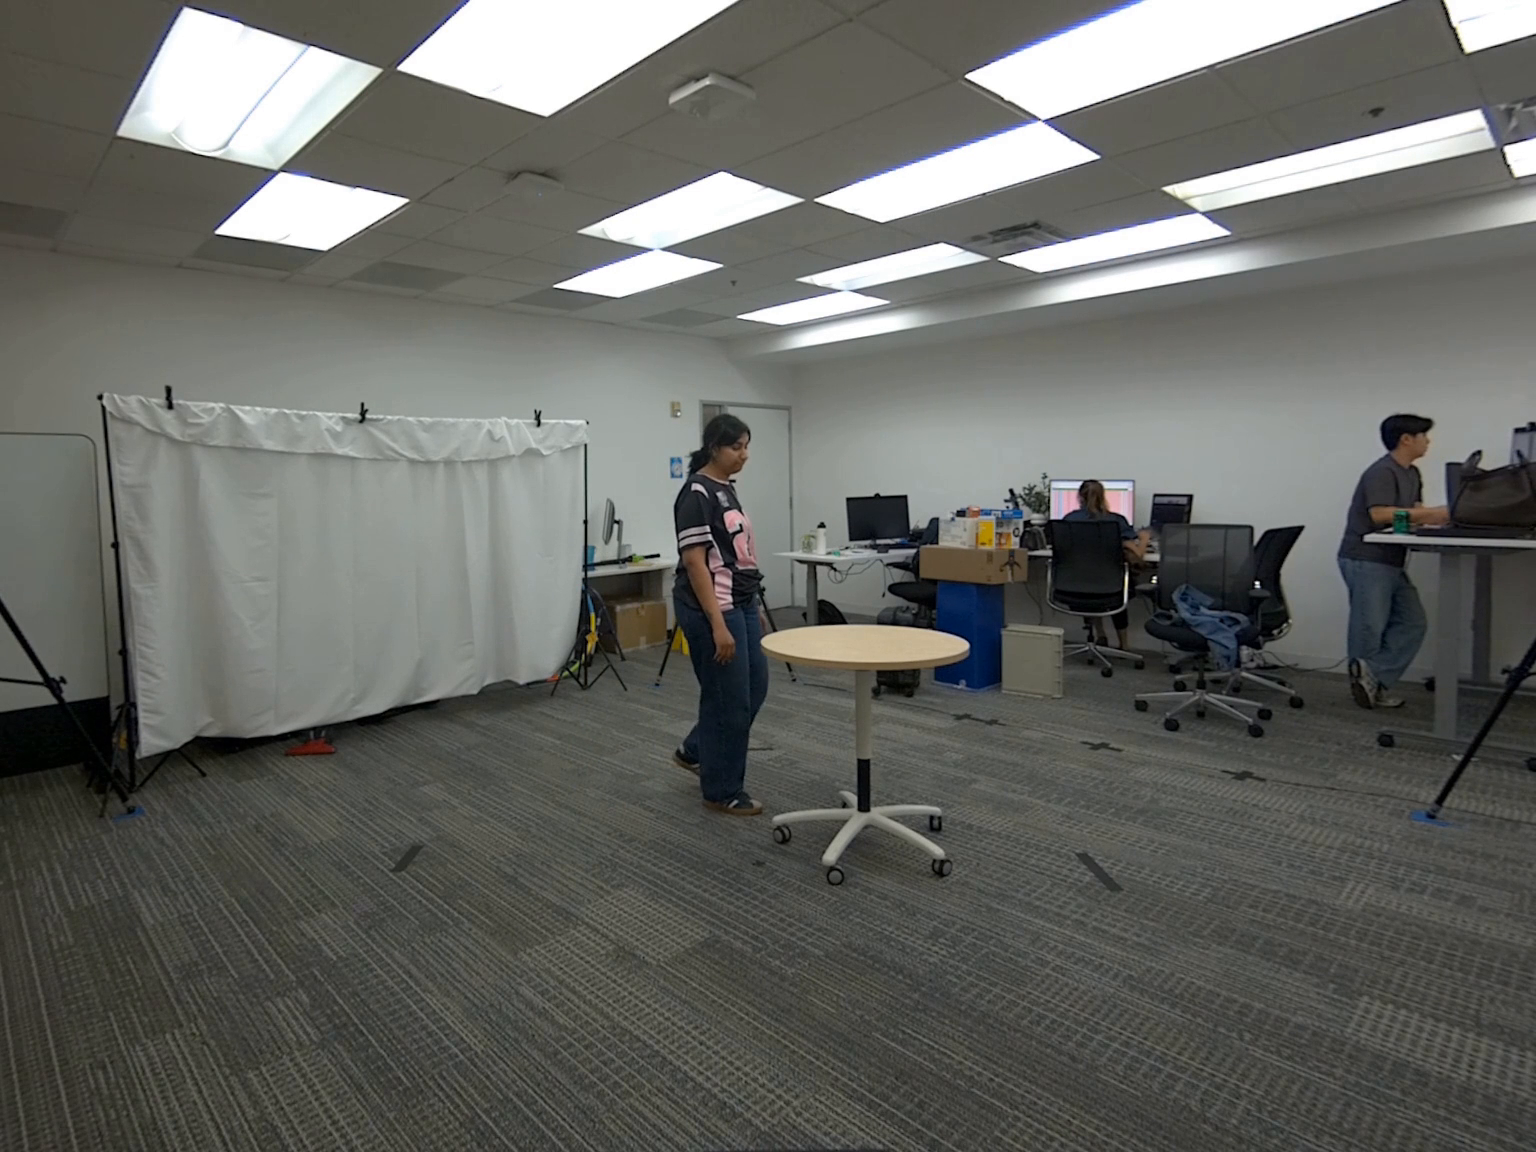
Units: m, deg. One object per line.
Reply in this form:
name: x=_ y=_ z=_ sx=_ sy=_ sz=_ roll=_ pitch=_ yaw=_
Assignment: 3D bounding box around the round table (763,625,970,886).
round table: x=0.368 y=0.634 z=3.223 sx=0.784 sy=0.783 sz=0.789 roll=-1 pitch=5 yaw=-2
